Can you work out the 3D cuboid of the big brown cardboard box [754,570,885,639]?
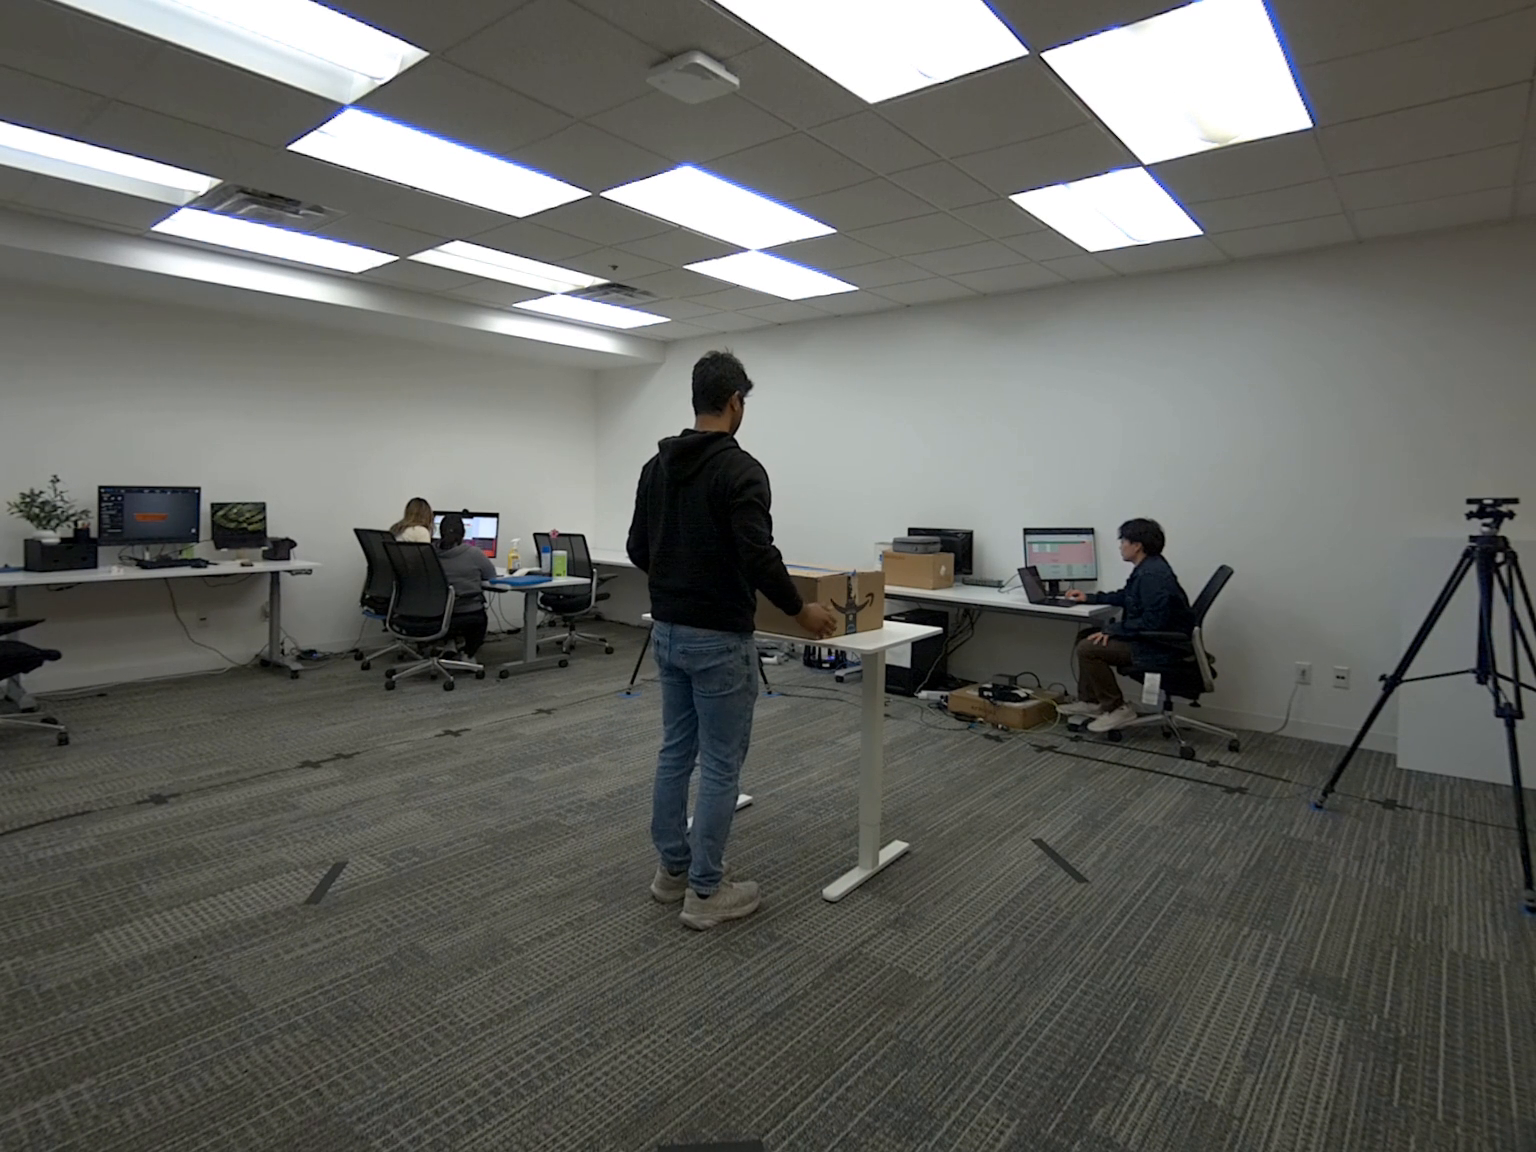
[{"bbox_3d":[0.069,0.070,3.209,0.610,0.232,0.405,8,8,42],"label":"big brown cardboard box"}]
